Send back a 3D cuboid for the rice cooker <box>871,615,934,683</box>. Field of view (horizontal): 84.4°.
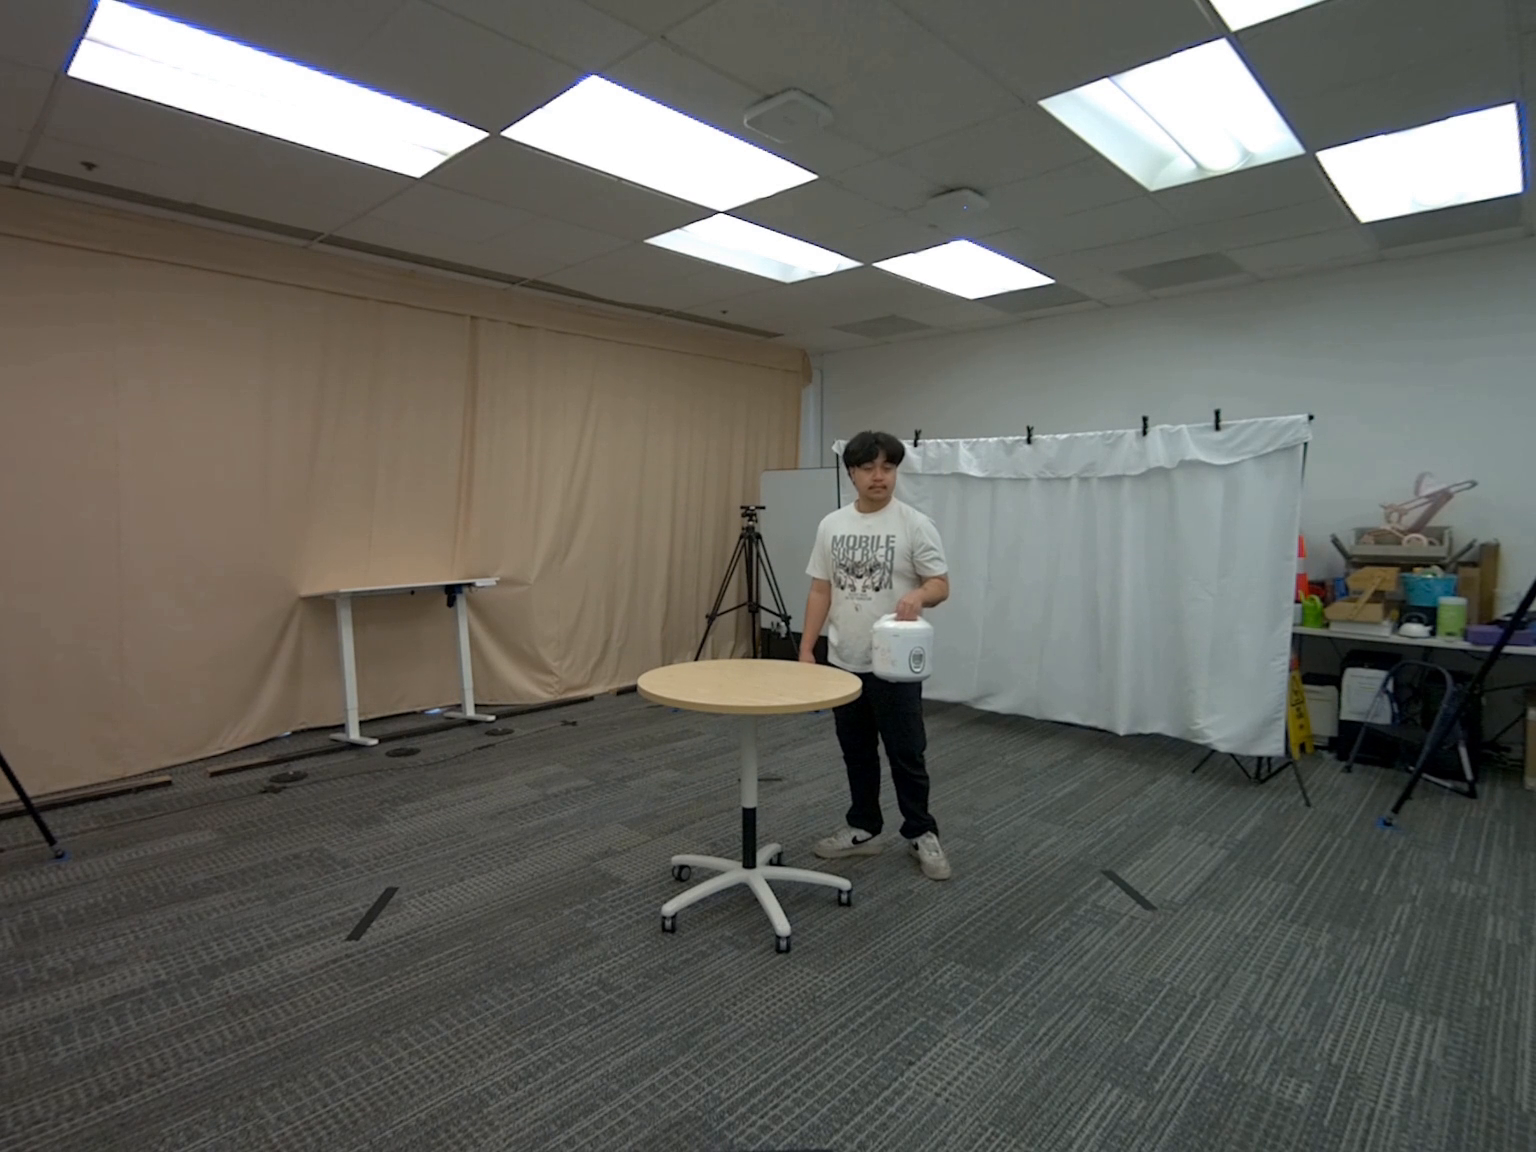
[{"bbox_3d":[0.473,0.243,2.951,0.217,0.233,0.221,-1,1,-16],"label":"rice cooker"}]
